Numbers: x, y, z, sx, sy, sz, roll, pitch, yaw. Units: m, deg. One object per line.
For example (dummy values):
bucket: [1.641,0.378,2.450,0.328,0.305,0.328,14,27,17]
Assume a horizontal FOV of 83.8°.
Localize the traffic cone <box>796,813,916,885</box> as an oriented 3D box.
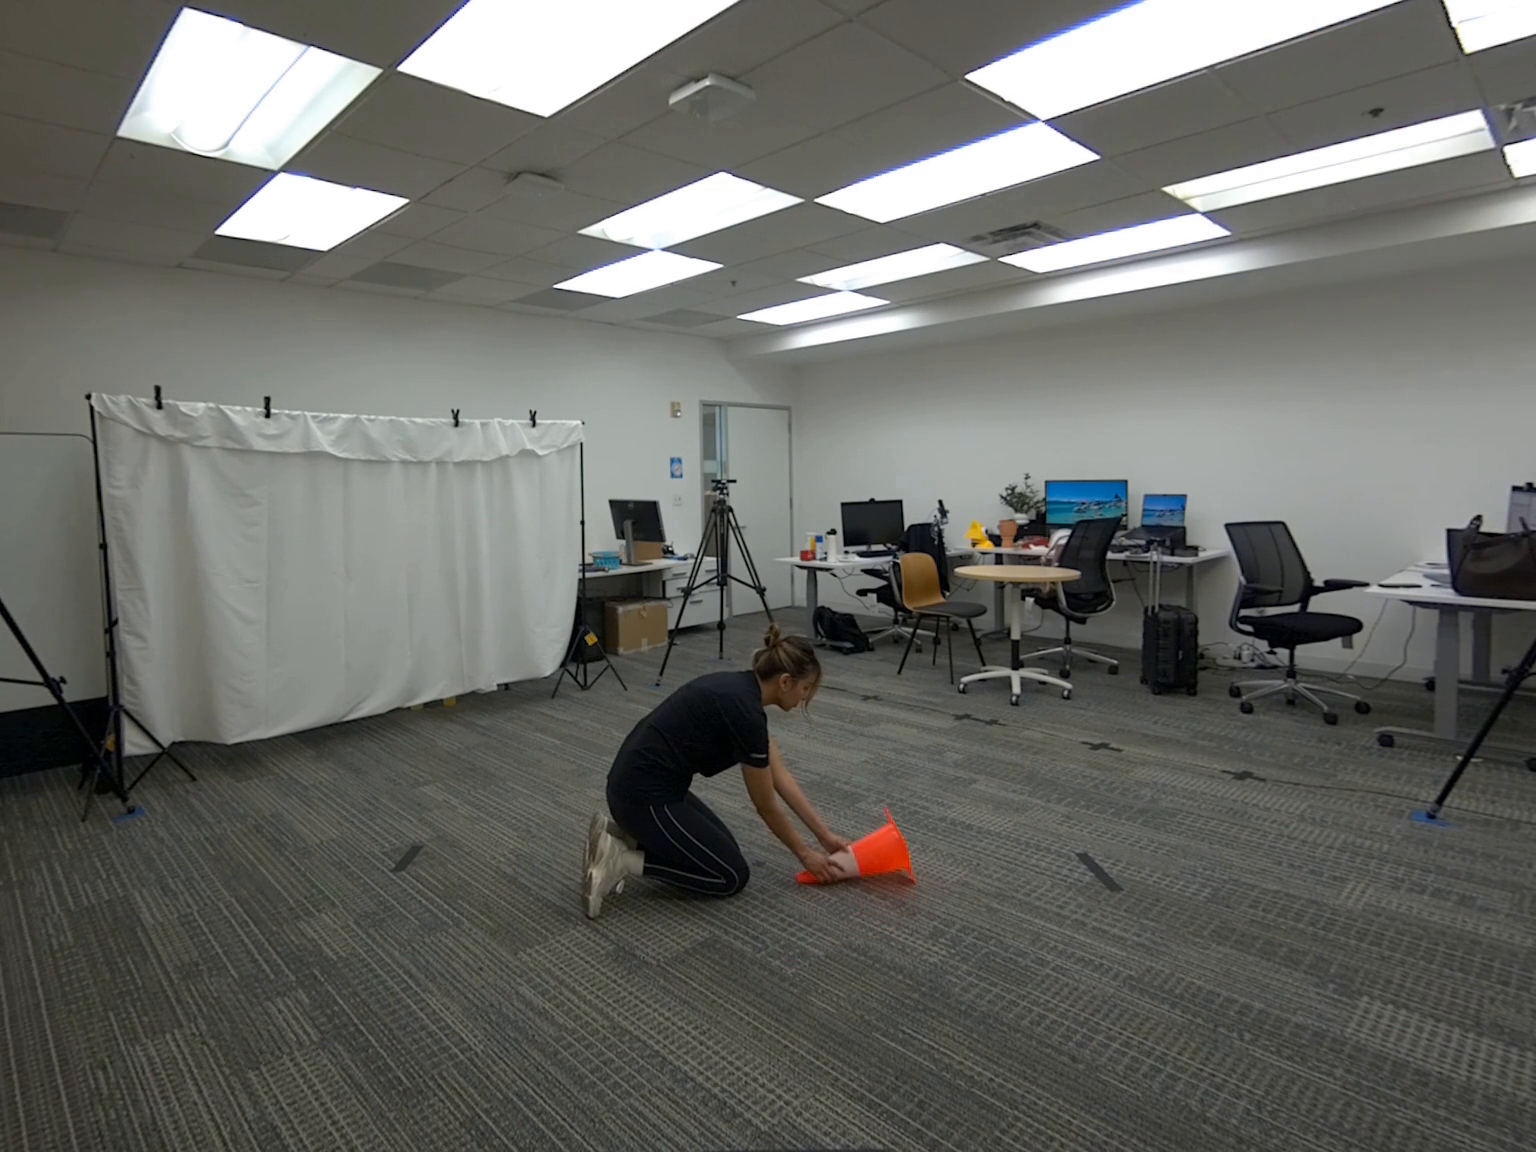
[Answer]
traffic cone: [0.284,1.004,2.962,0.383,0.198,0.210,-20,24,-3]
